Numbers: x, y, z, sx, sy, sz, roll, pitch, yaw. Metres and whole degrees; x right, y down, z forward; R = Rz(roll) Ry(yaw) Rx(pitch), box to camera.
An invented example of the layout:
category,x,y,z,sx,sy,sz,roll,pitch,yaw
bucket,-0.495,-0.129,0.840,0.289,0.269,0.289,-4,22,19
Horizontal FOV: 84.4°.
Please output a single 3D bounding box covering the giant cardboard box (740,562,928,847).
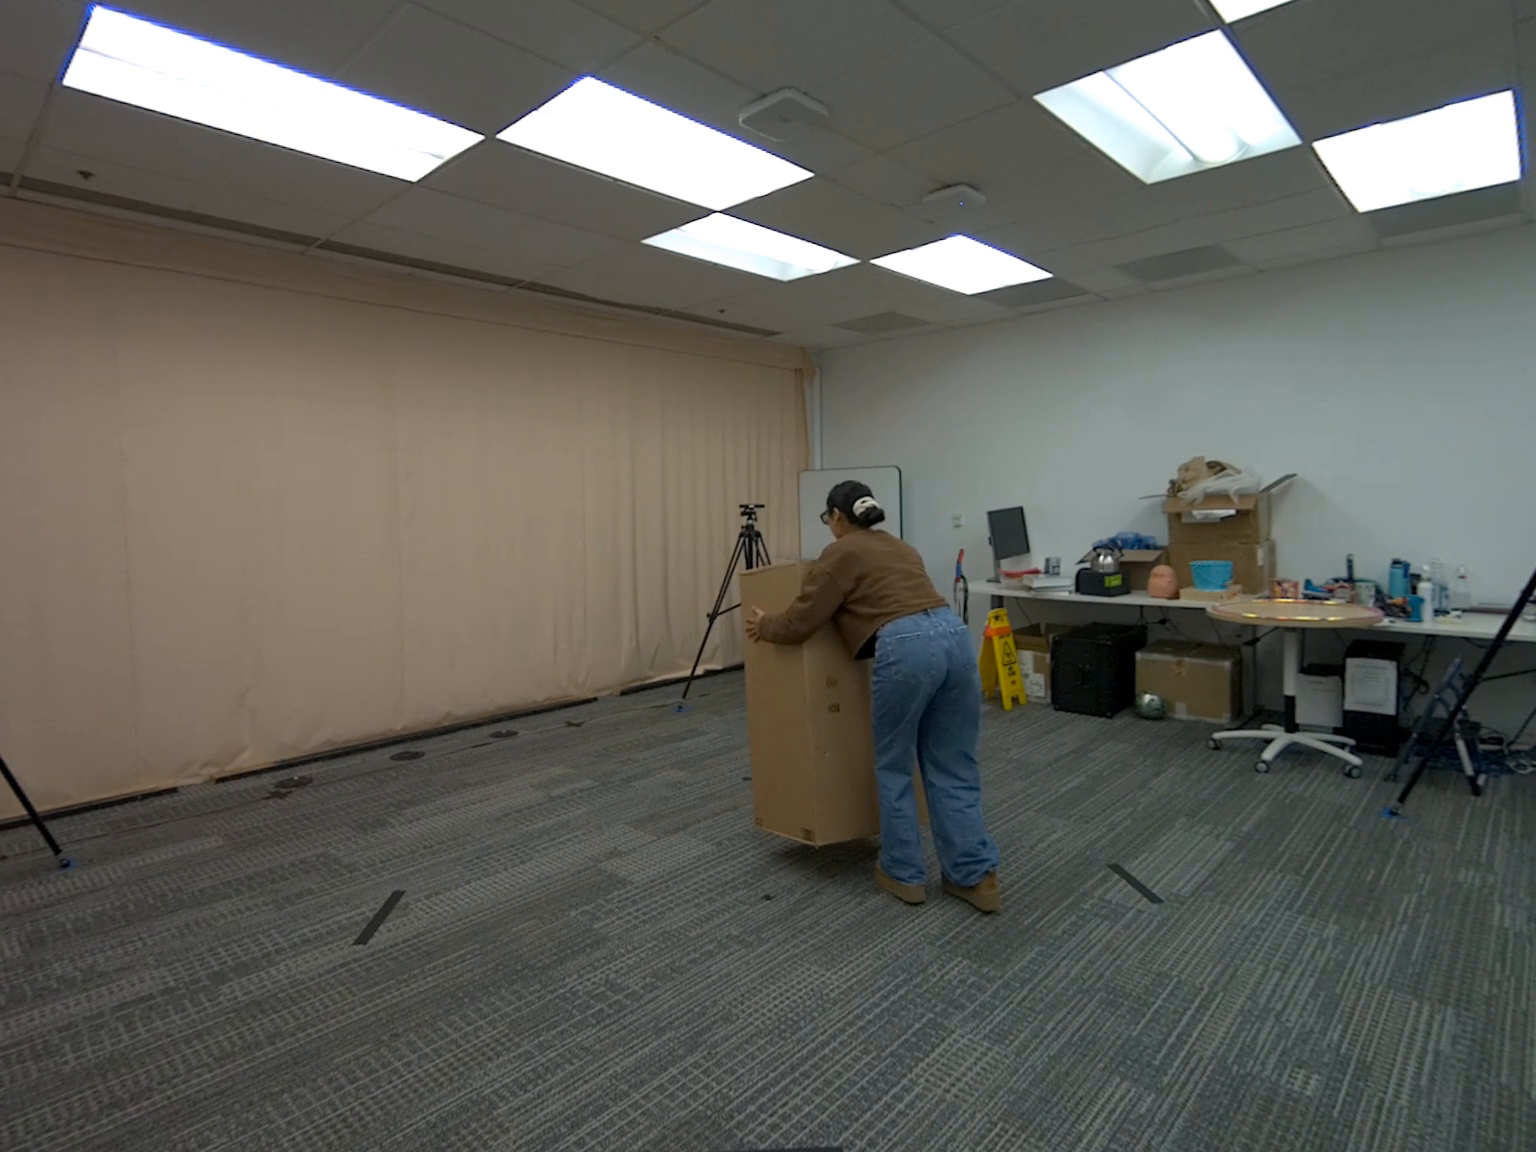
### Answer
category,x,y,z,sx,sy,sz,roll,pitch,yaw
giant cardboard box,0.269,0.475,3.366,0.561,1.030,0.436,0,-7,-32
